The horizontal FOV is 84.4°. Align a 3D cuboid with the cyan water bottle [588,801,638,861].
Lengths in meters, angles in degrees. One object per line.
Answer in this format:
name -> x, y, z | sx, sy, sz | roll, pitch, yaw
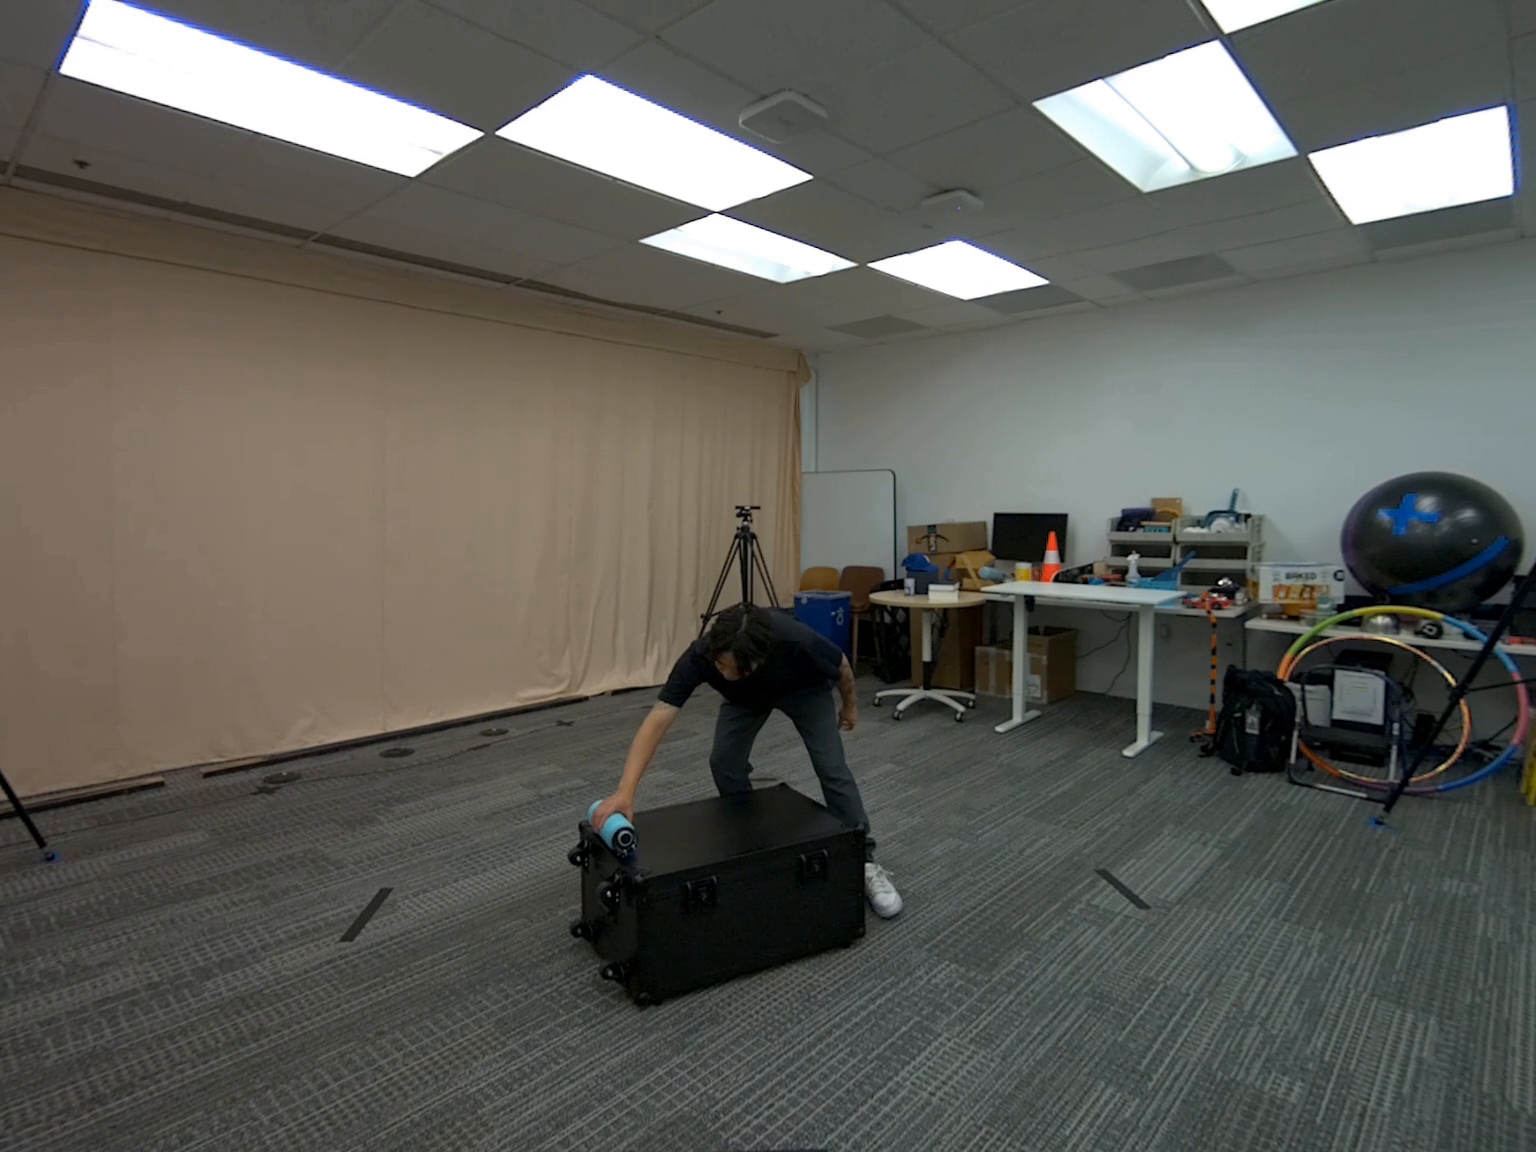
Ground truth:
cyan water bottle -> -0.457, 0.761, 2.543 | 0.090, 0.092, 0.290 | -2, 3, -26
